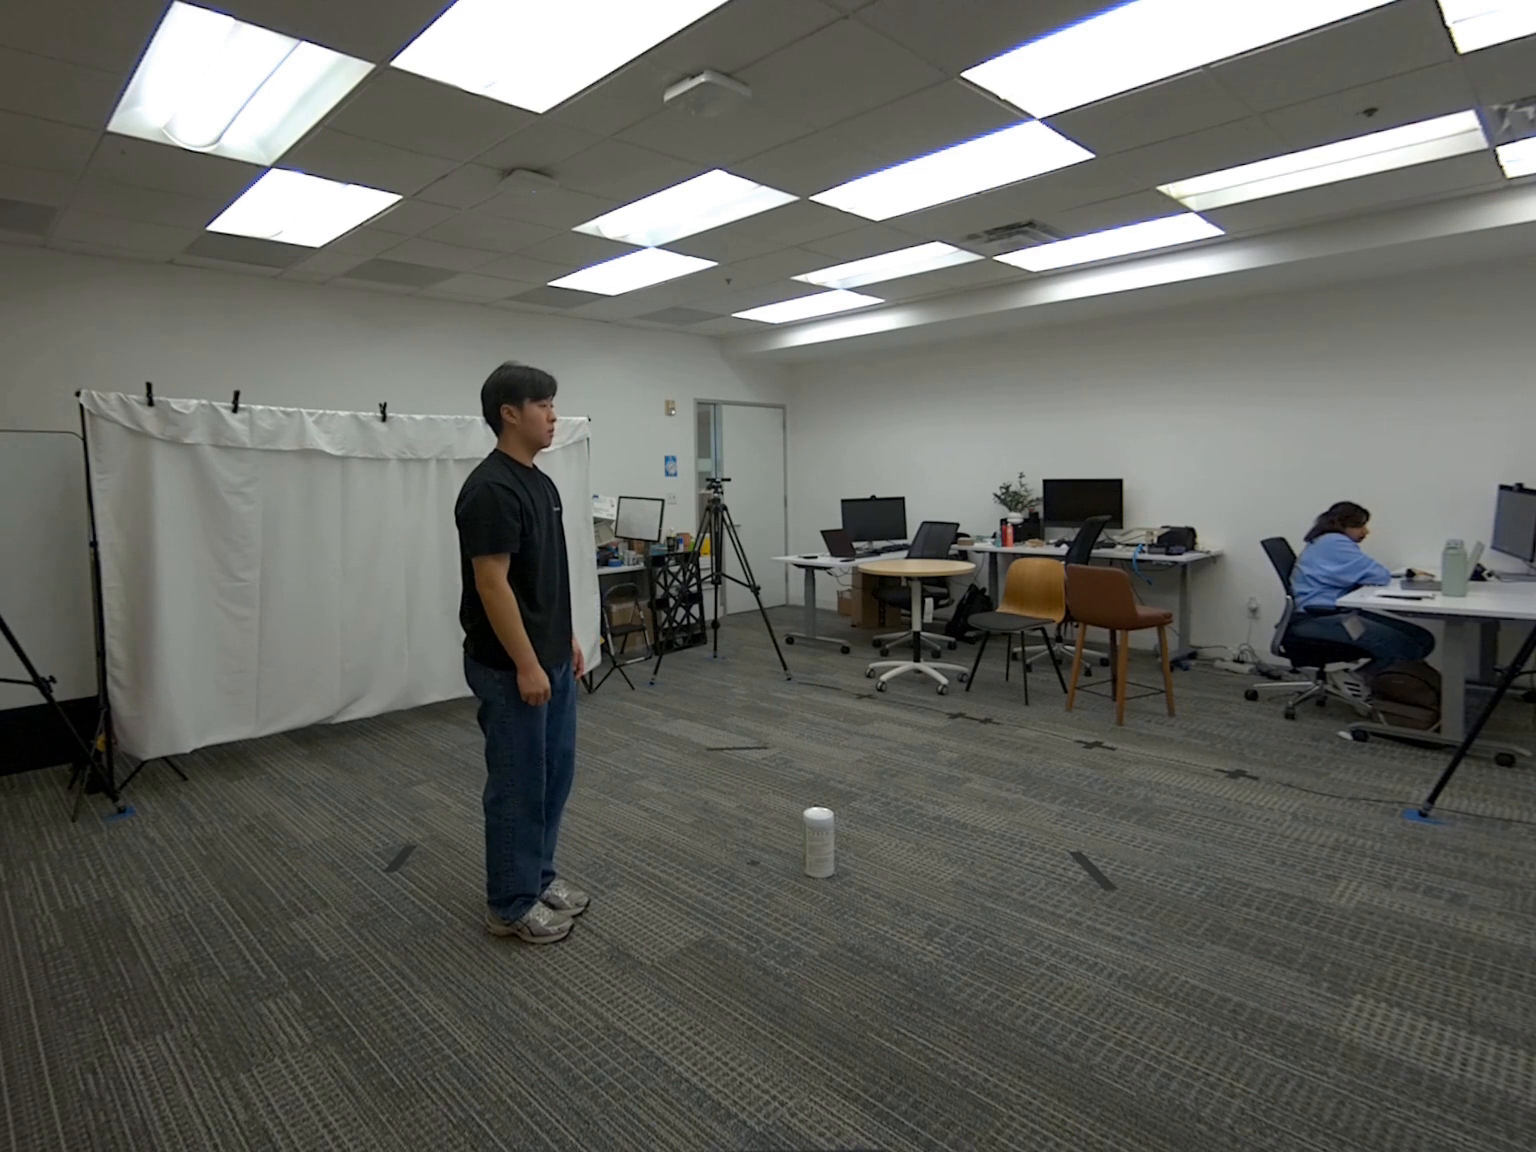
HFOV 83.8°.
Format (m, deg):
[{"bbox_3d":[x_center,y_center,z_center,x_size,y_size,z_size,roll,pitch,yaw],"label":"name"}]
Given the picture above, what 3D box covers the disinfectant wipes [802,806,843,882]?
[{"bbox_3d":[0.190,0.939,3.015,0.118,0.217,0.118,-2,2,-2],"label":"disinfectant wipes"}]
